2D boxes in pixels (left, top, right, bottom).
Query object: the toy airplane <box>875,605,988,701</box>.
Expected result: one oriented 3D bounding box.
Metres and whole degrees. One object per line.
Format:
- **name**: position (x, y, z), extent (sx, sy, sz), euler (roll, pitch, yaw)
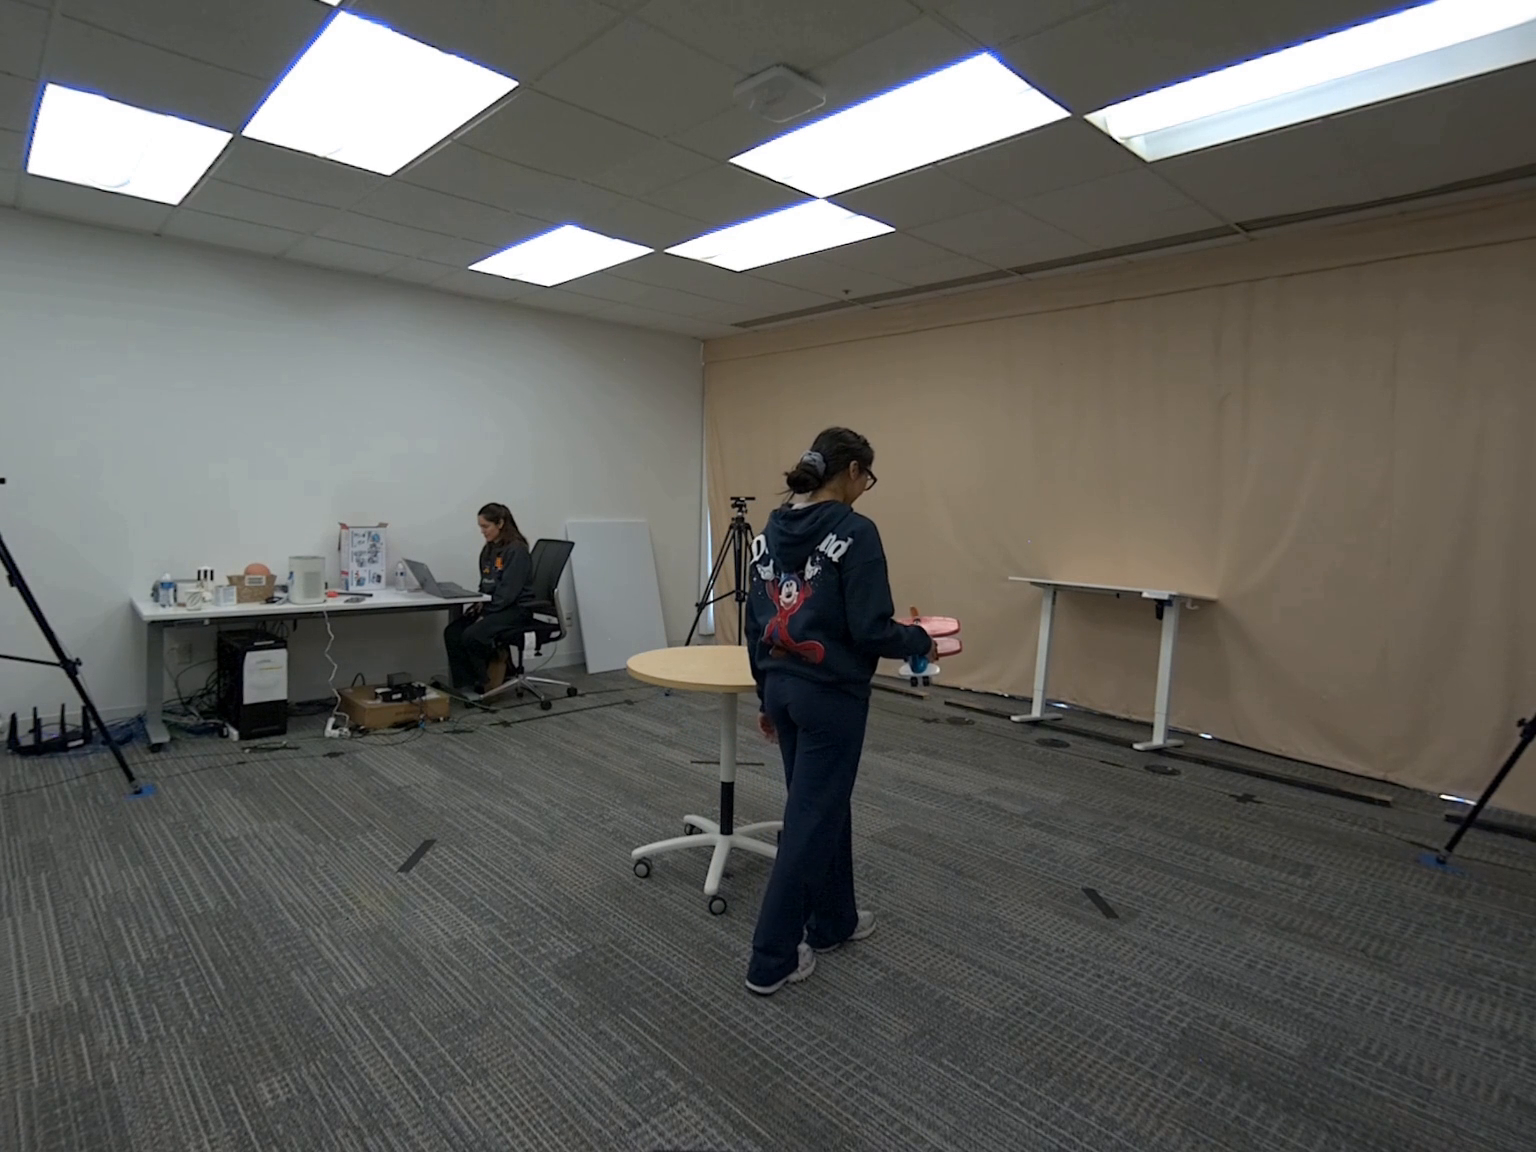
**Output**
- **toy airplane**: position (0.475, 0.225, 2.568), extent (0.249, 0.154, 0.264), euler (-13, 16, -13)
